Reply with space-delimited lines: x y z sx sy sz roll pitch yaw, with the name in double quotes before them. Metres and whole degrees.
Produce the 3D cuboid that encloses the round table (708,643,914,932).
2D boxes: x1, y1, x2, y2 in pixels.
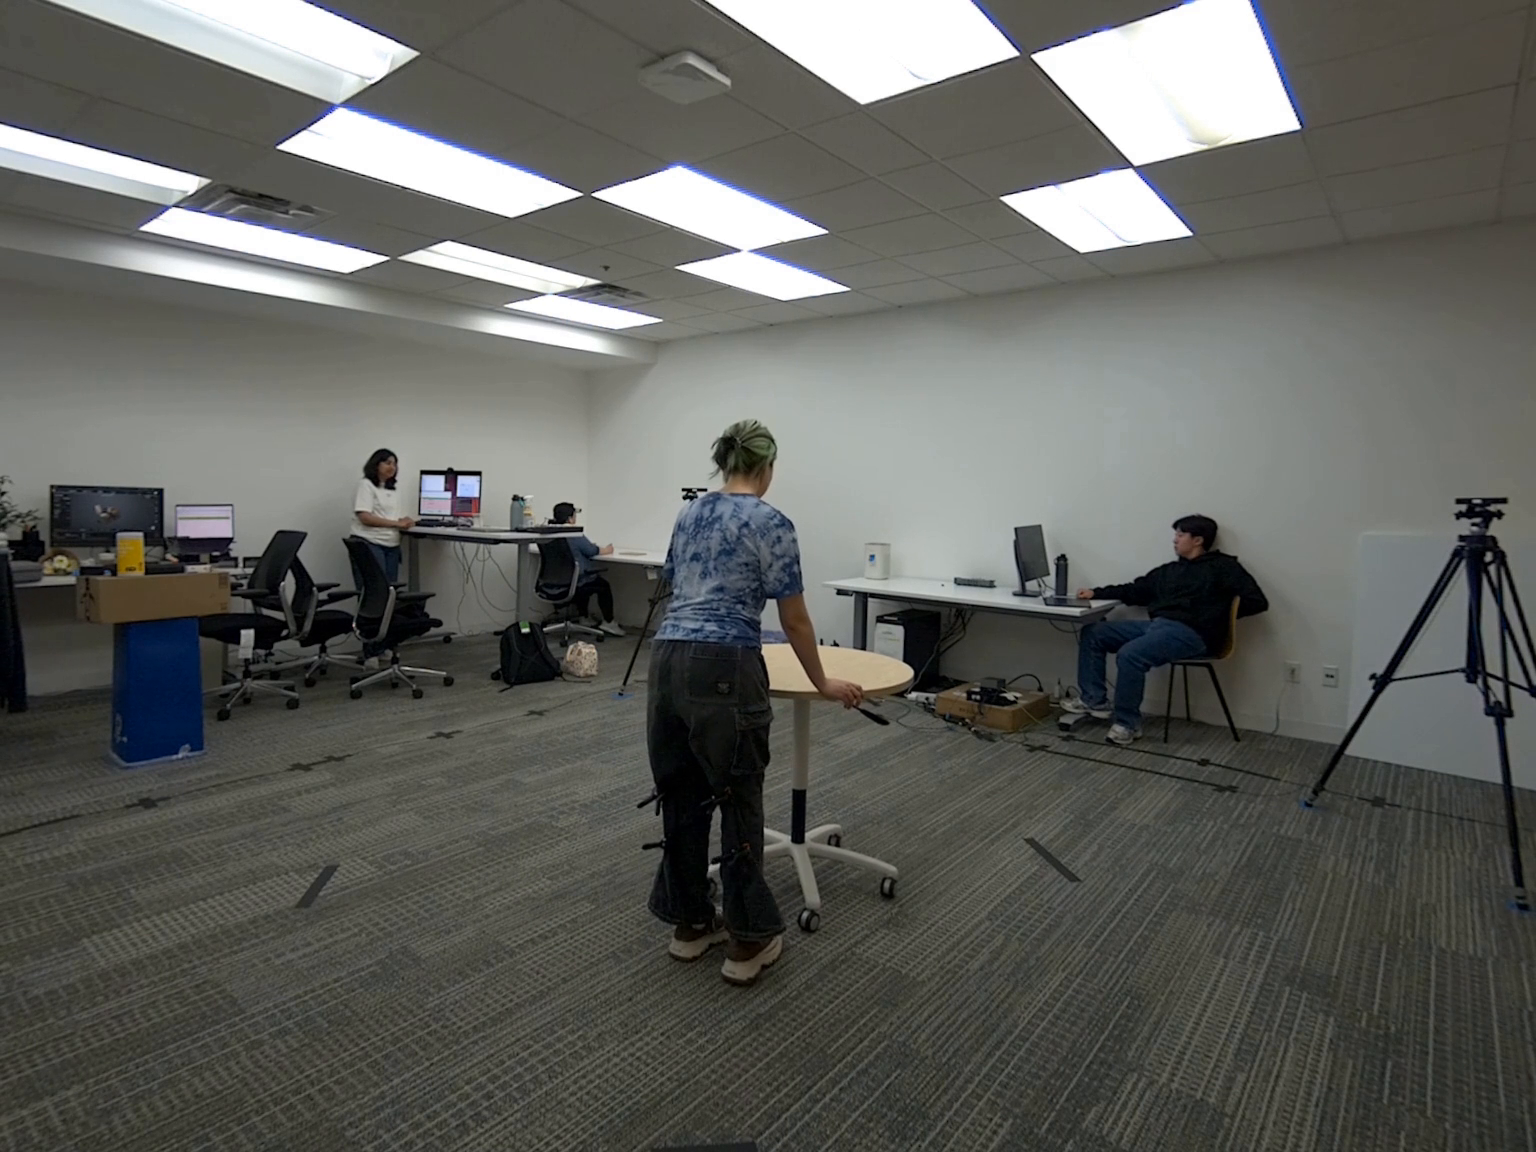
"round table" 0.110 0.701 3.015 0.763 0.791 0.768 1 5 -2
